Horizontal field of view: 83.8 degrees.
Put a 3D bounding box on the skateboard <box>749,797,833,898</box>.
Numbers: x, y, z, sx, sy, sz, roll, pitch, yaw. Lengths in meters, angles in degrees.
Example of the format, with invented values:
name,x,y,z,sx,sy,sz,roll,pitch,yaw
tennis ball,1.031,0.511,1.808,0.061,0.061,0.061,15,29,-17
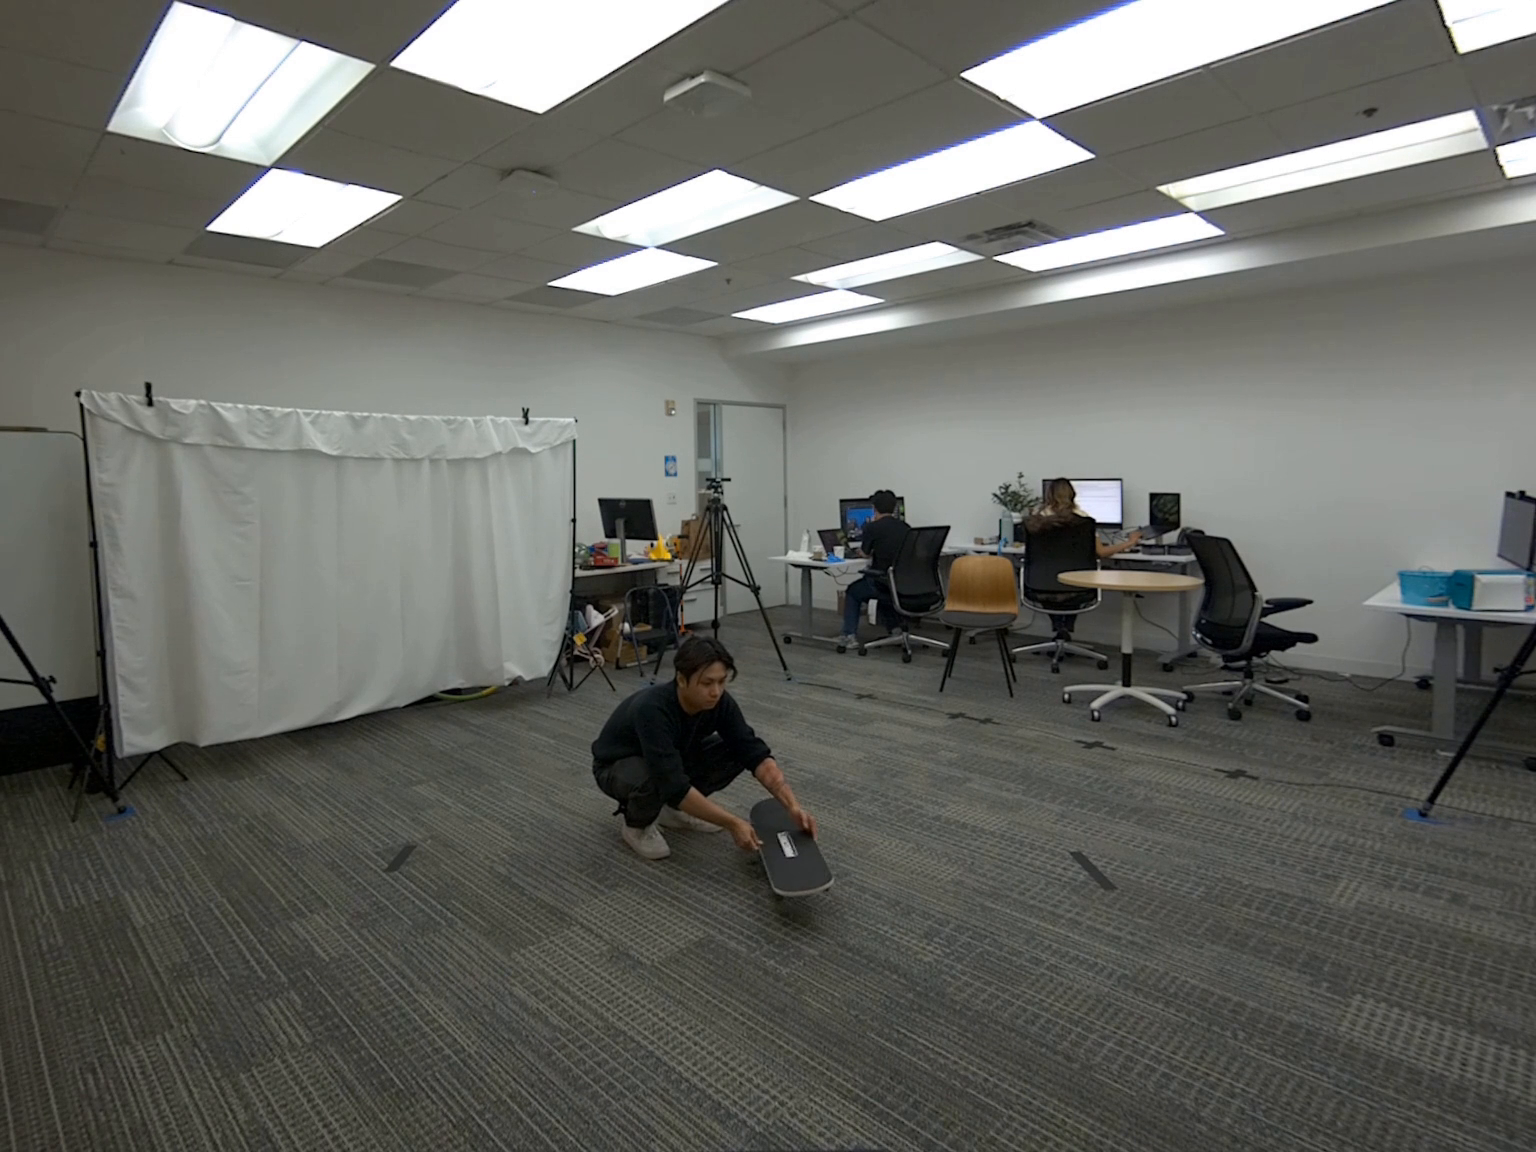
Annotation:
name,x,y,z,sx,sy,sz,roll,pitch,yaw
skateboard,0.070,0.958,2.941,0.192,0.110,0.792,-11,5,-7
